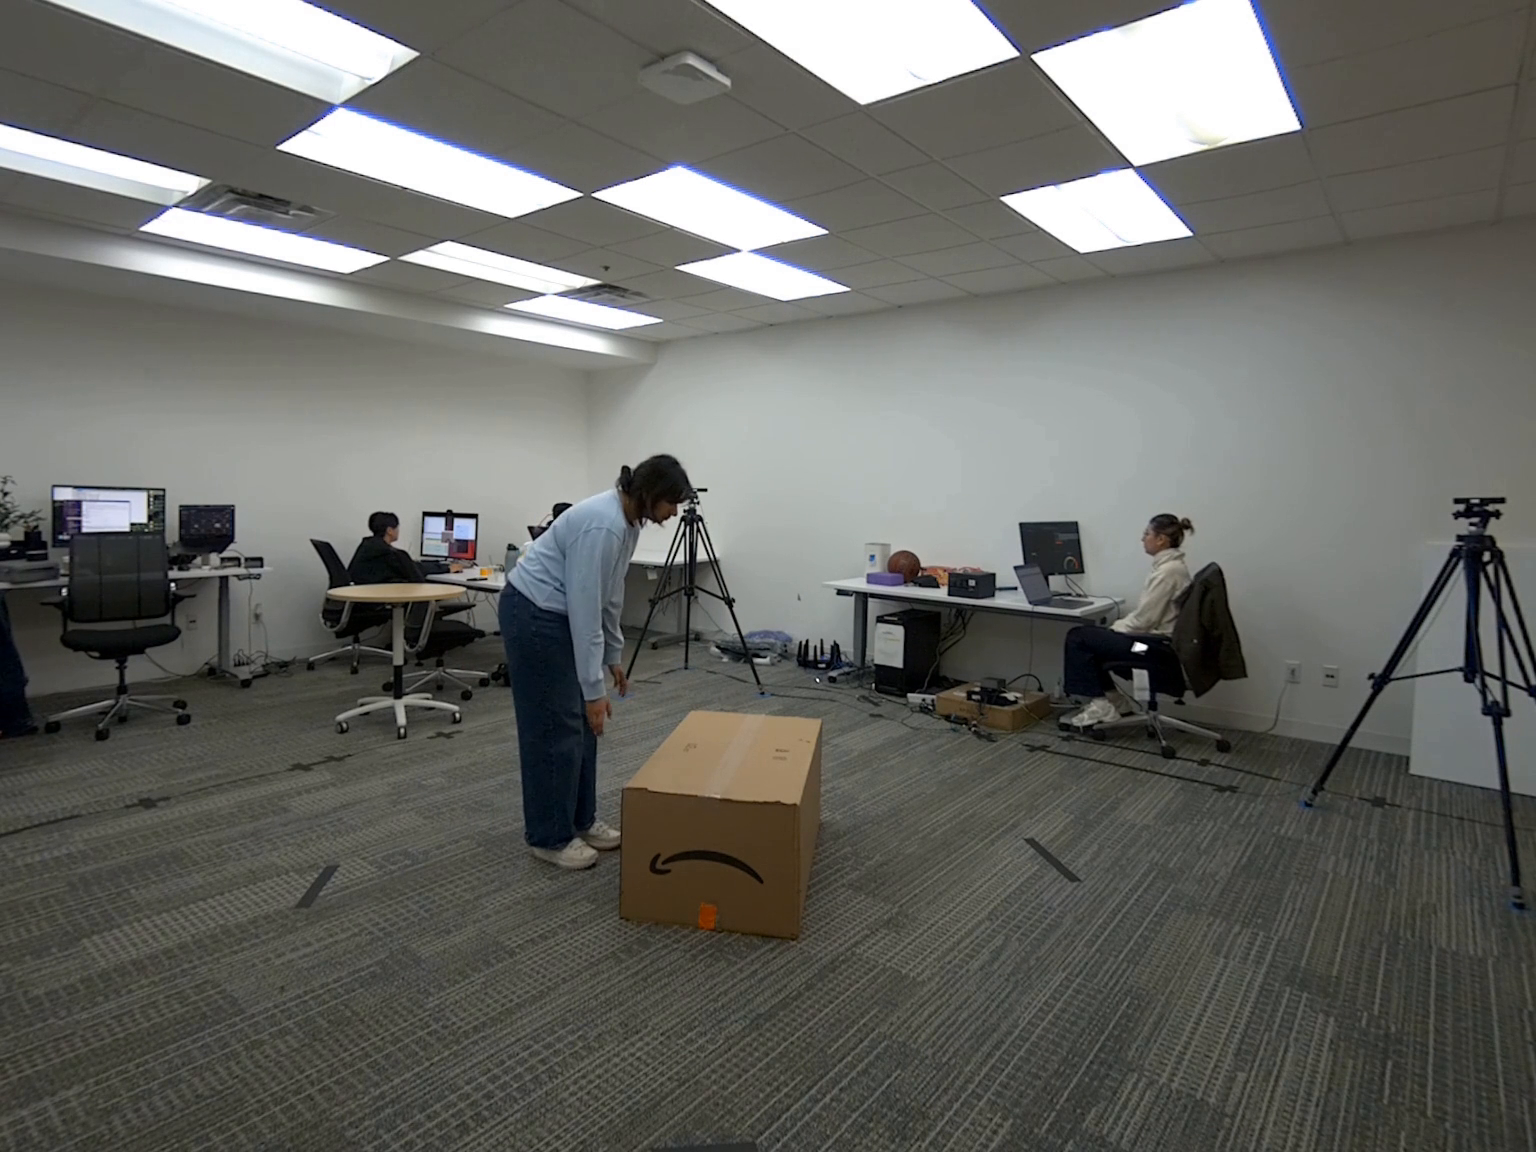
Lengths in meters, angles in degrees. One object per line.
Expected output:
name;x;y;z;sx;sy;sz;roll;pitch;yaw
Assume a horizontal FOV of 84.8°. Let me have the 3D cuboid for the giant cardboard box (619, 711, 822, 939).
giant cardboard box;-0.134;0.849;3.162;0.584;0.425;1.018;2;5;9
